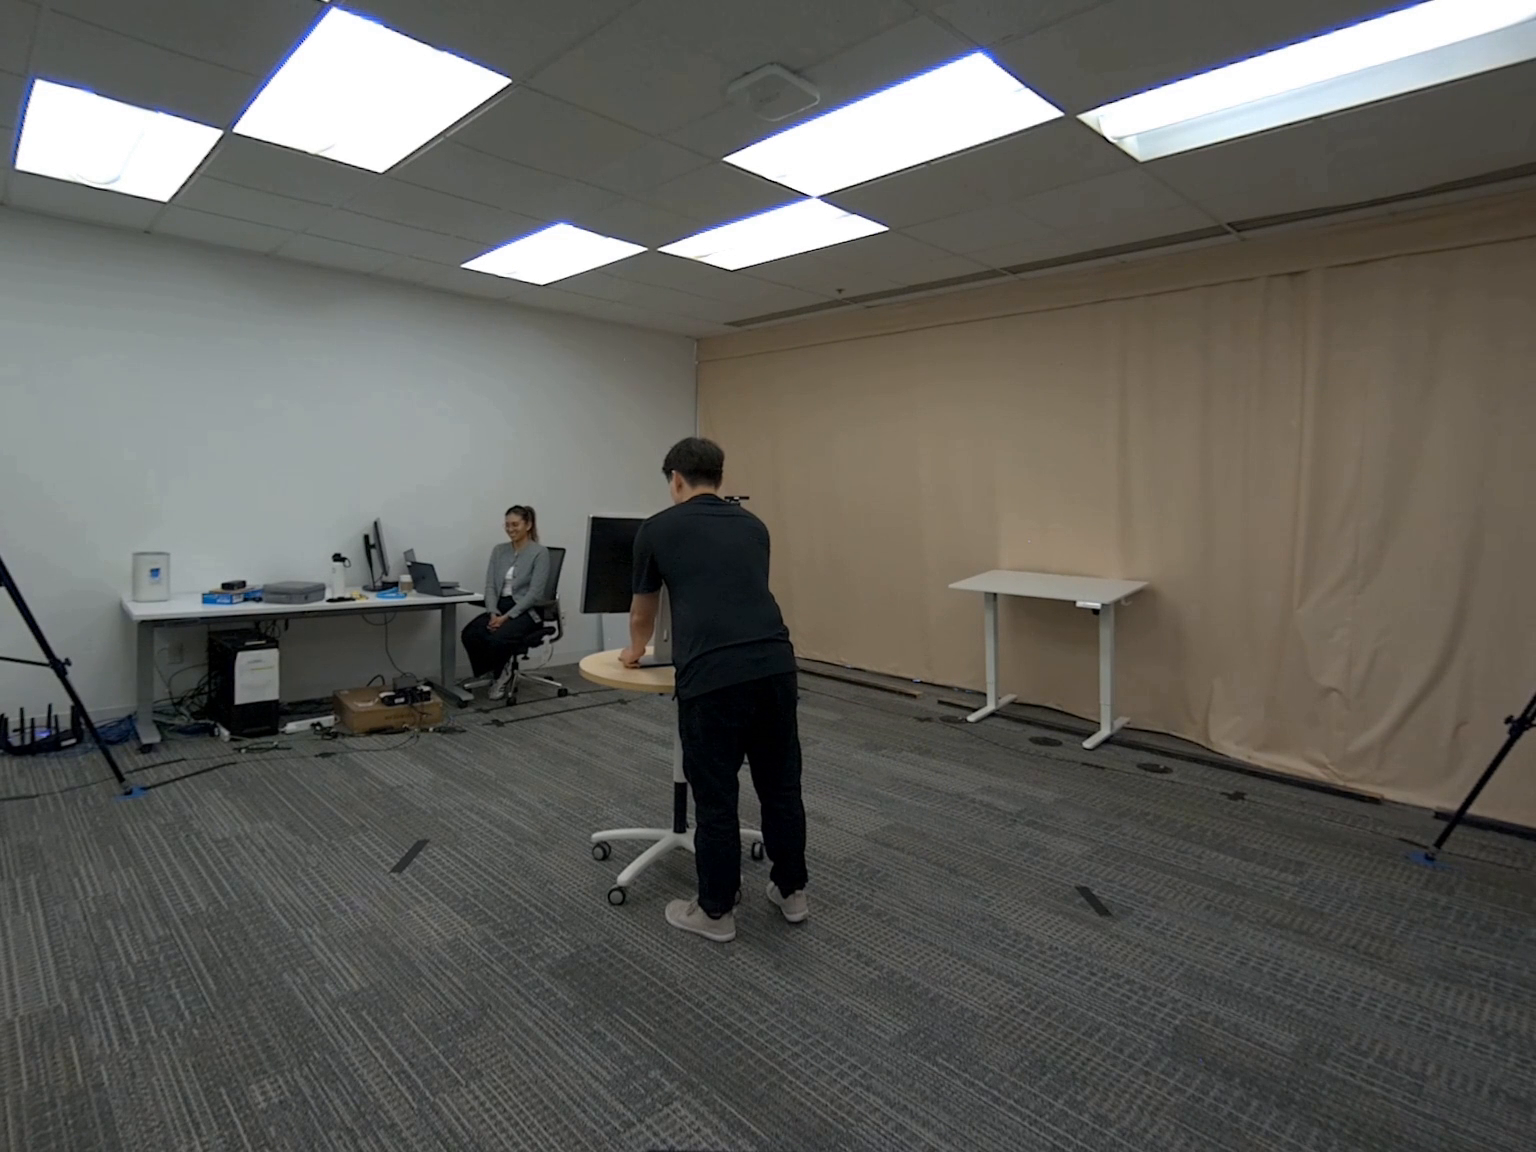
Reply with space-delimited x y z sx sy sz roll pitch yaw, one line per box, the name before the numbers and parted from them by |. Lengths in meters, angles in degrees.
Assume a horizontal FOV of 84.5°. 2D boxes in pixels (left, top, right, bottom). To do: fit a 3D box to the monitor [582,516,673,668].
monitor | -0.411 0.055 3.123 0.527 0.522 0.191 0 1 -35
